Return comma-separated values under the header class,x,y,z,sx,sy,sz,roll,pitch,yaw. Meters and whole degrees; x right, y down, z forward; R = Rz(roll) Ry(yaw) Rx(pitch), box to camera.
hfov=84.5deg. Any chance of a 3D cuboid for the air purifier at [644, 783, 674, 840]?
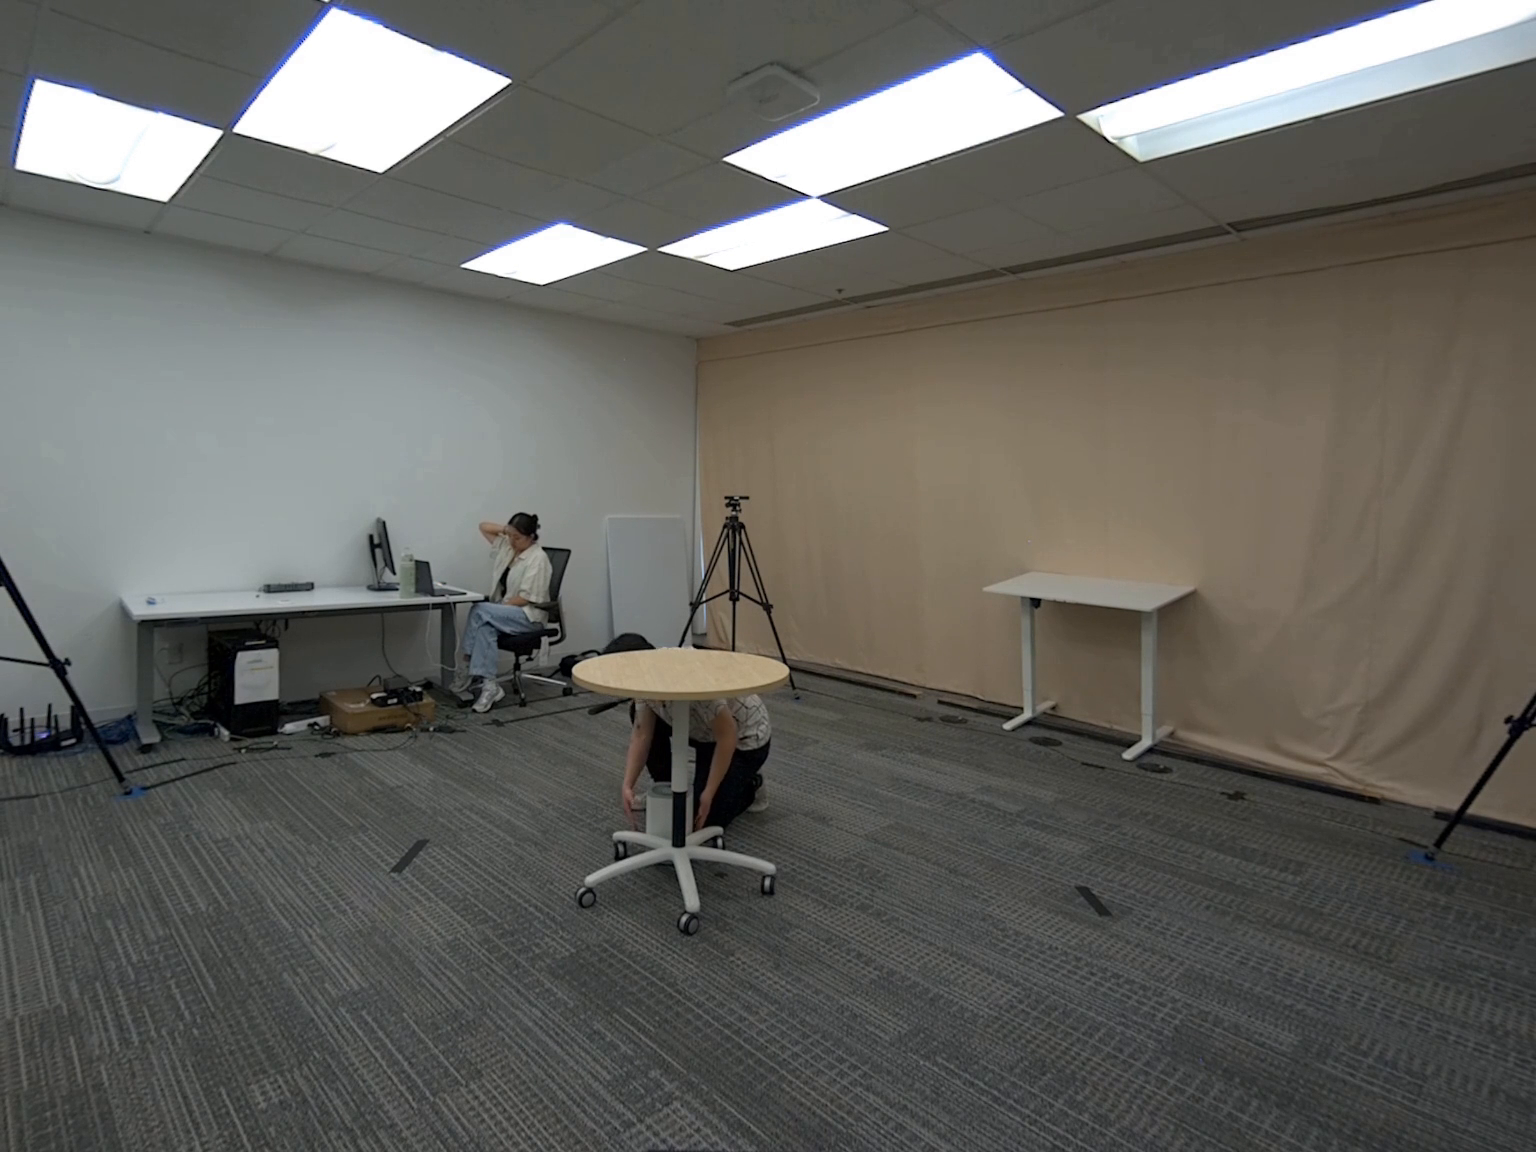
class,x,y,z,sx,sy,sz,roll,pitch,yaw
air purifier,-0.389,0.954,3.241,0.171,0.264,0.172,2,4,2
